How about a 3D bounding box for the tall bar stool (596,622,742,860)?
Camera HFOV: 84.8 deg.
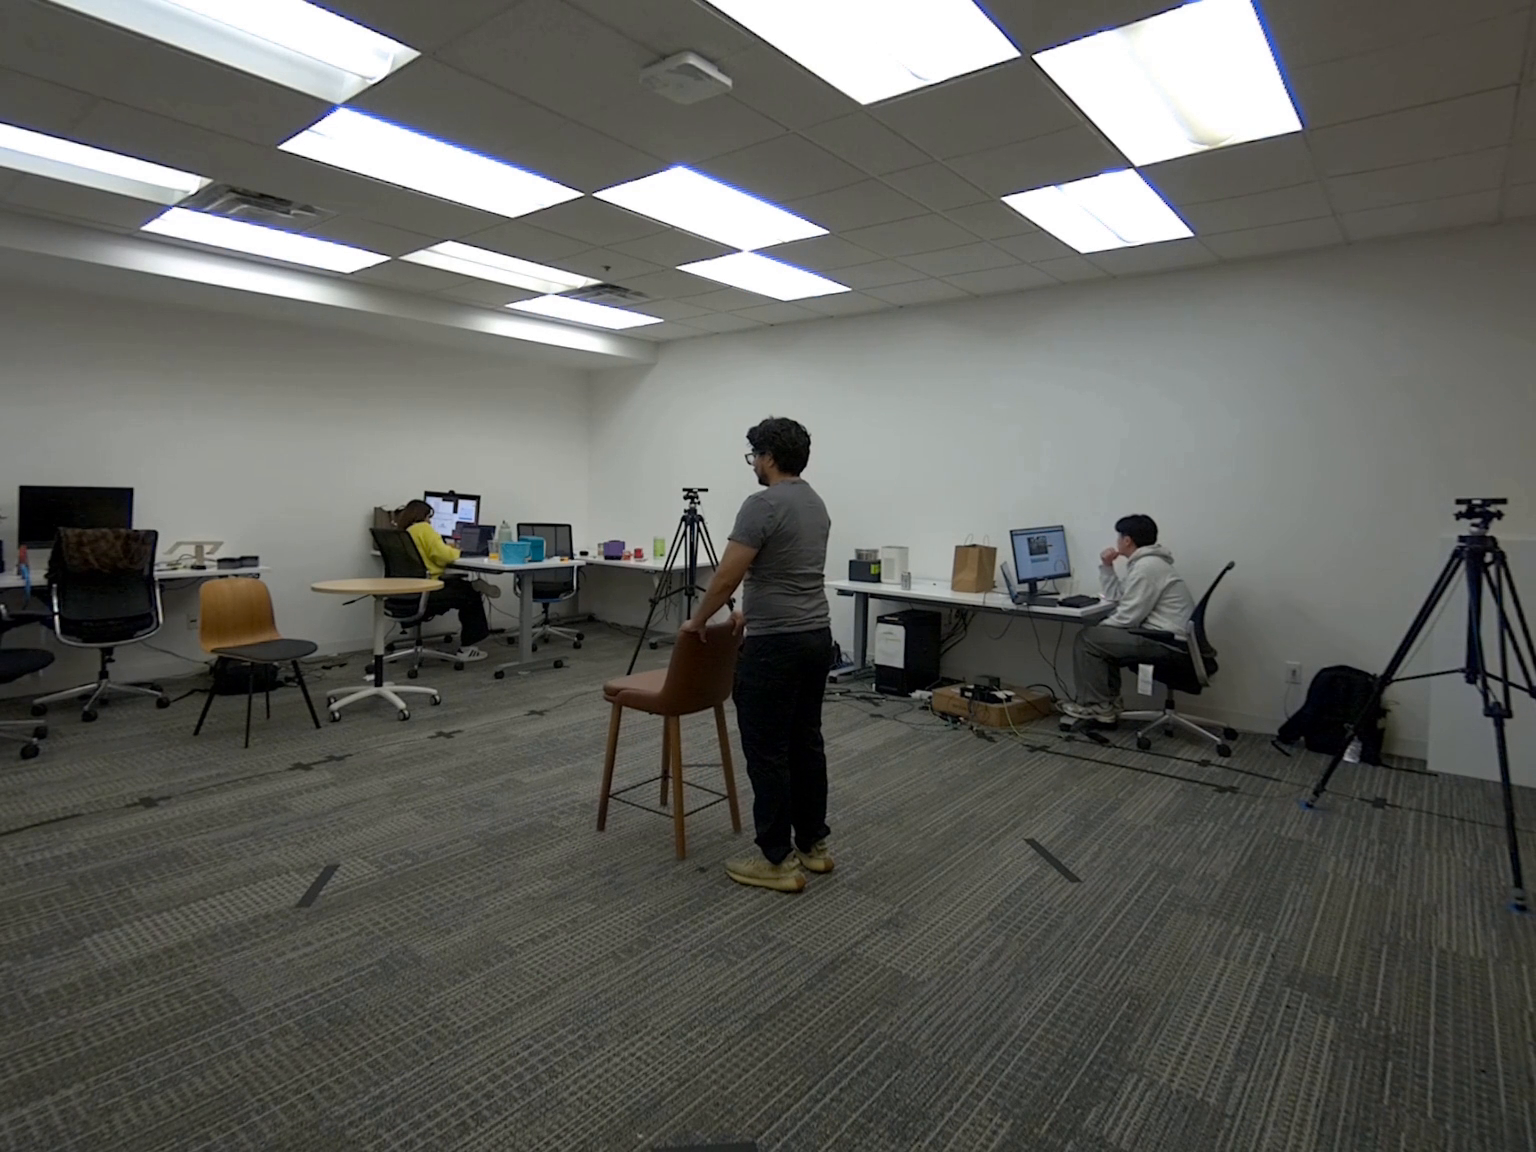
[{"bbox_3d":[-0.392,0.597,3.434,0.483,0.886,0.443,6,5,38],"label":"tall bar stool"}]
